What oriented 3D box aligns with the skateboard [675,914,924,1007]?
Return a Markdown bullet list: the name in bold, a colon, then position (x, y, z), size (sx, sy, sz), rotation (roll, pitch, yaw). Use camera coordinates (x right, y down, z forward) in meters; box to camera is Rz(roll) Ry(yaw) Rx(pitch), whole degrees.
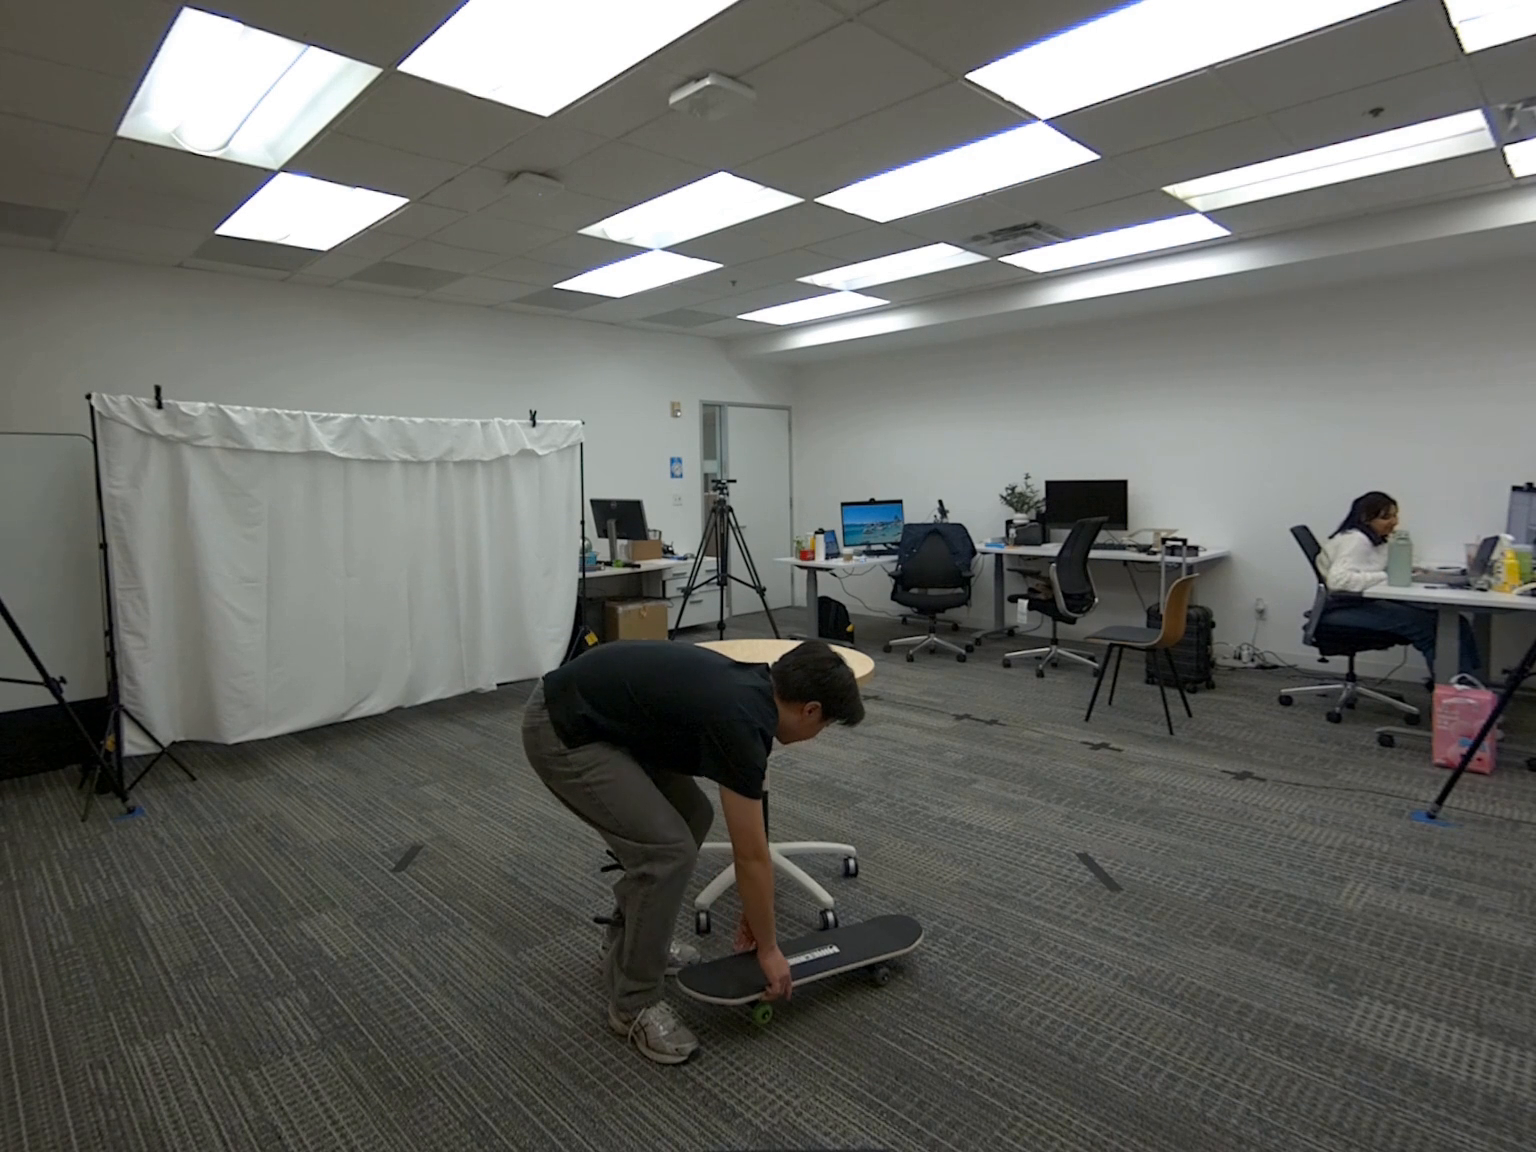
- **skateboard**: position (0.113, 1.063, 2.316), size (0.765, 0.110, 0.199), rotation (1, 3, -31)
